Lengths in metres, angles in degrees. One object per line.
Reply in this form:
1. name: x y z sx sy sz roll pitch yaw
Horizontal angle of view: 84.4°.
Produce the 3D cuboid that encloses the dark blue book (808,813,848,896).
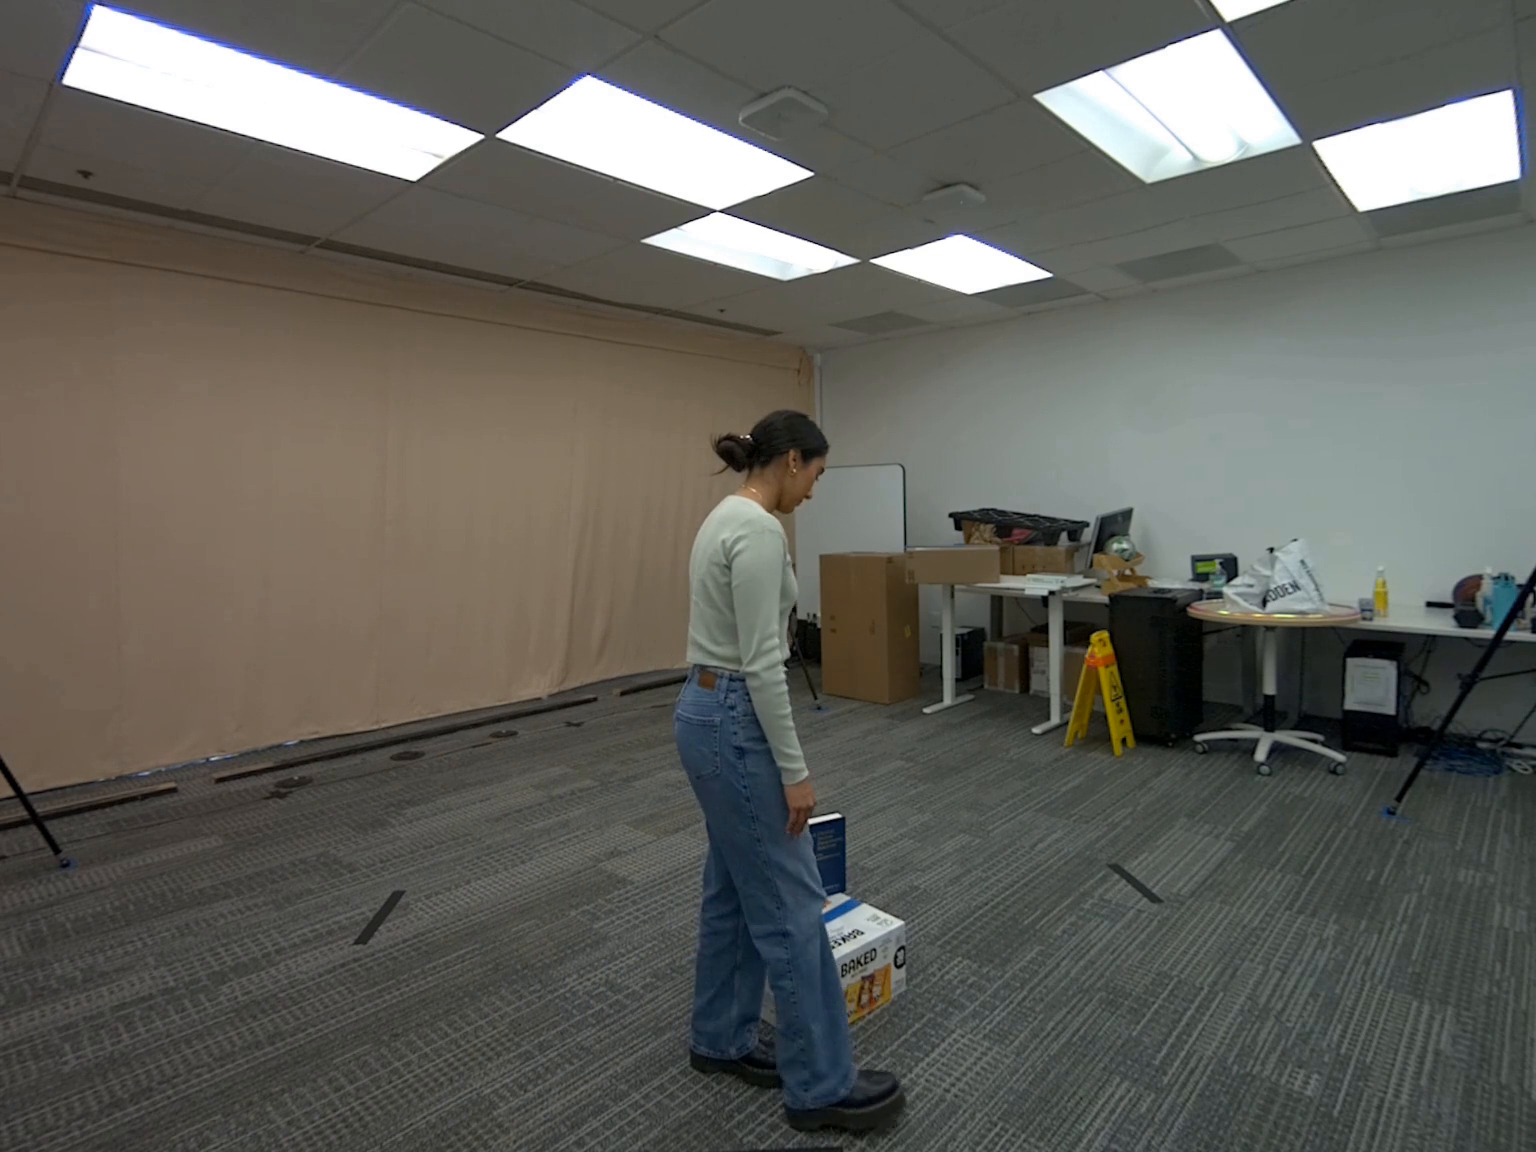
1. dark blue book: 0.159 0.852 2.549 0.160 0.244 0.046 -4 6 -22
